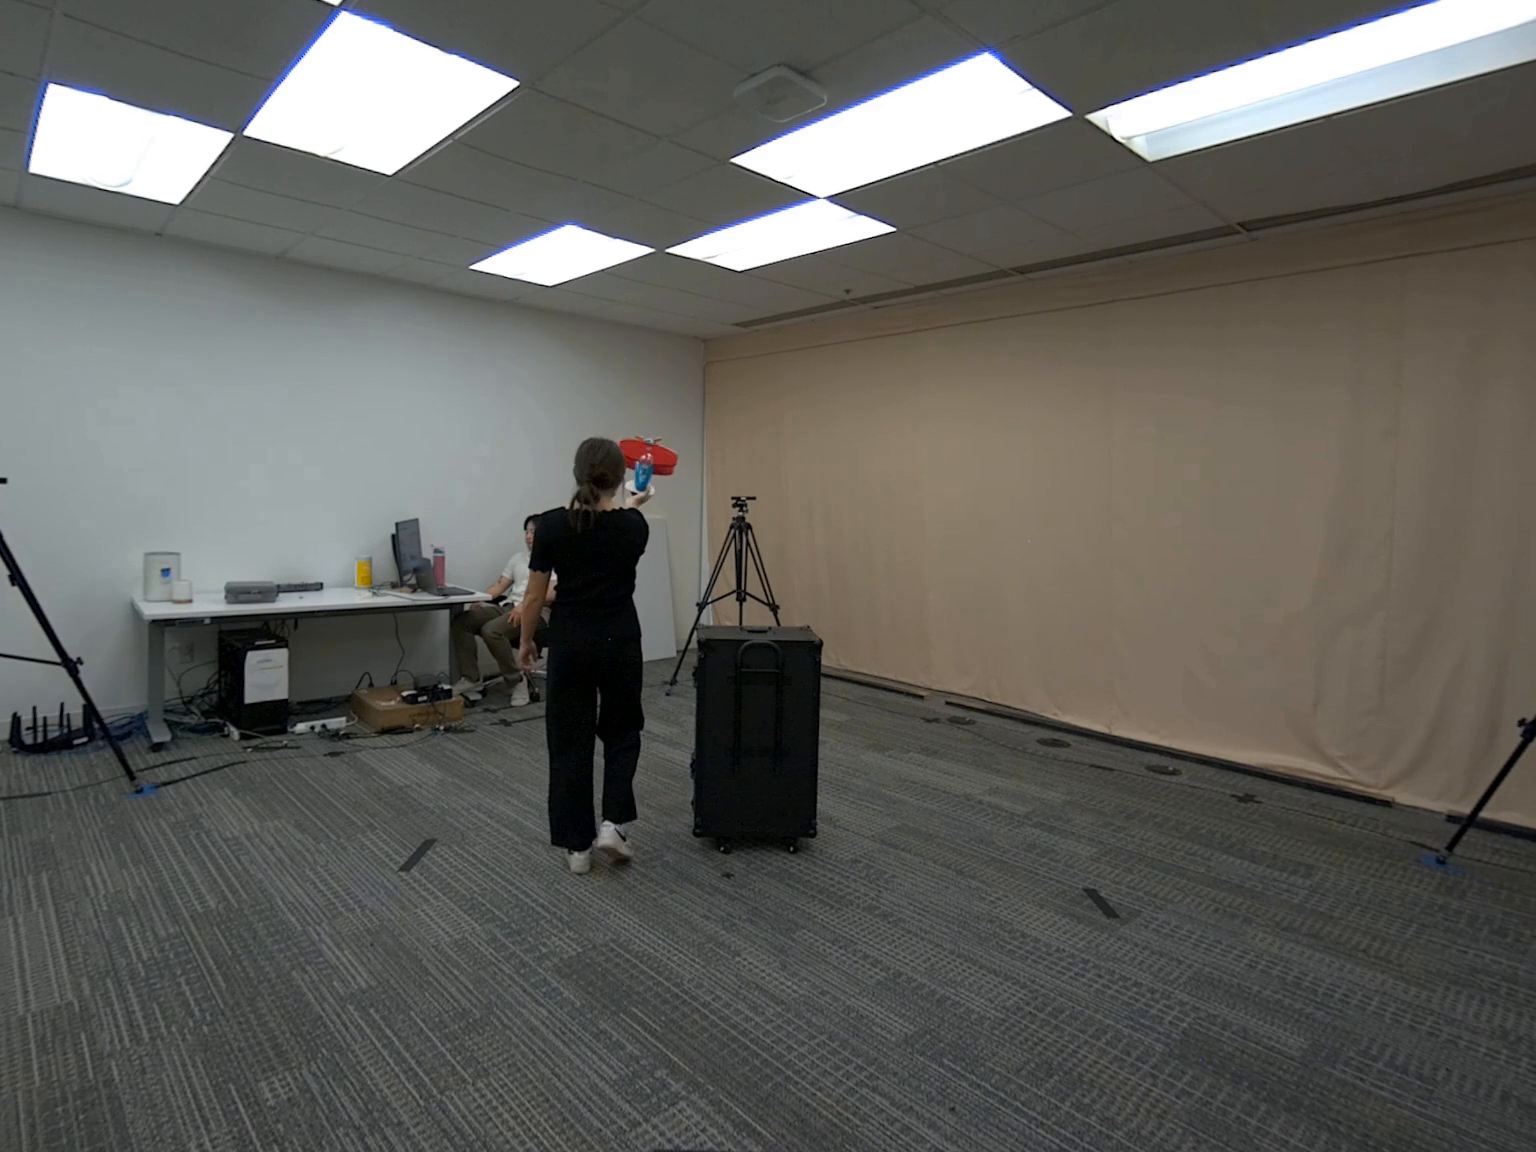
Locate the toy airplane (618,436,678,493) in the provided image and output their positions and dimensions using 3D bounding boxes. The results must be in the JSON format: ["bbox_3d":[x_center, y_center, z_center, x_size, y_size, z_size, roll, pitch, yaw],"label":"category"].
[{"bbox_3d":[-0.509,-0.452,3.538,0.247,0.266,0.155,-11,-33,-28],"label":"toy airplane"}]
